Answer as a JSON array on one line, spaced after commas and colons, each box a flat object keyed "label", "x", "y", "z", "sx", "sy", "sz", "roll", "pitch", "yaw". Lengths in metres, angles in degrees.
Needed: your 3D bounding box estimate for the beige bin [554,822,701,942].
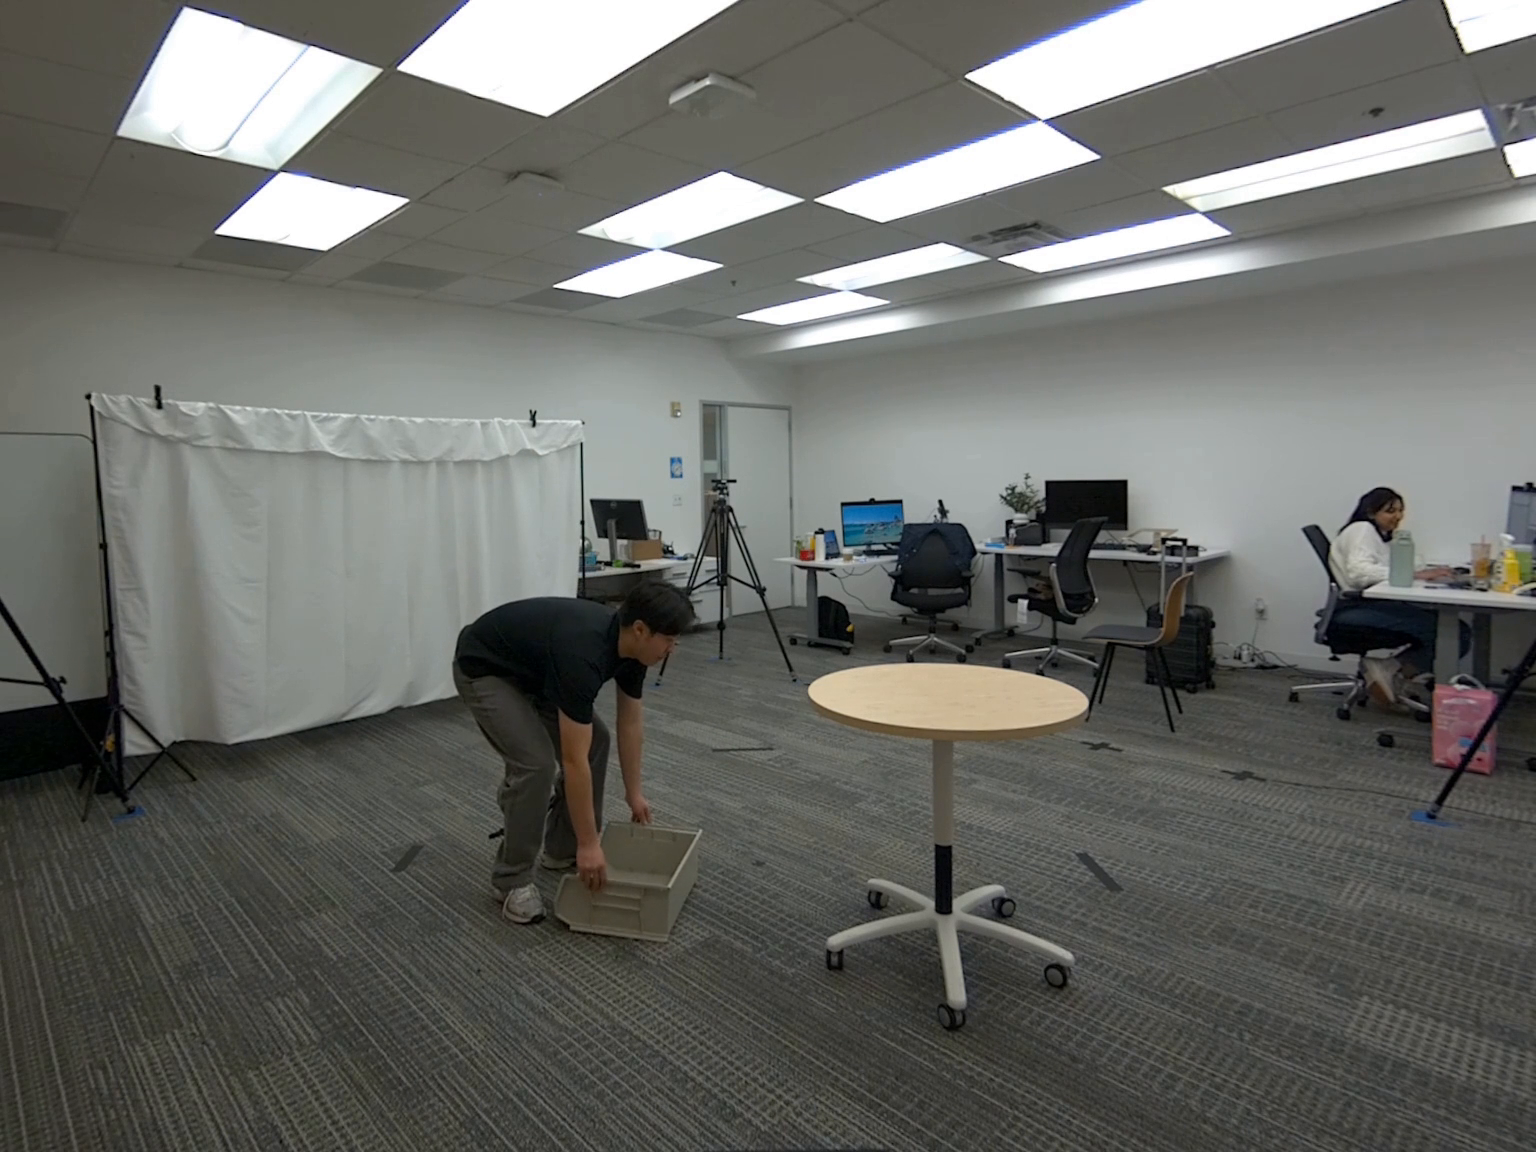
[{"label": "beige bin", "x": -0.446, "y": 0.985, "z": 2.817, "sx": 0.382, "sy": 0.188, "sz": 0.419, "roll": 4, "pitch": 6, "yaw": 10}]
